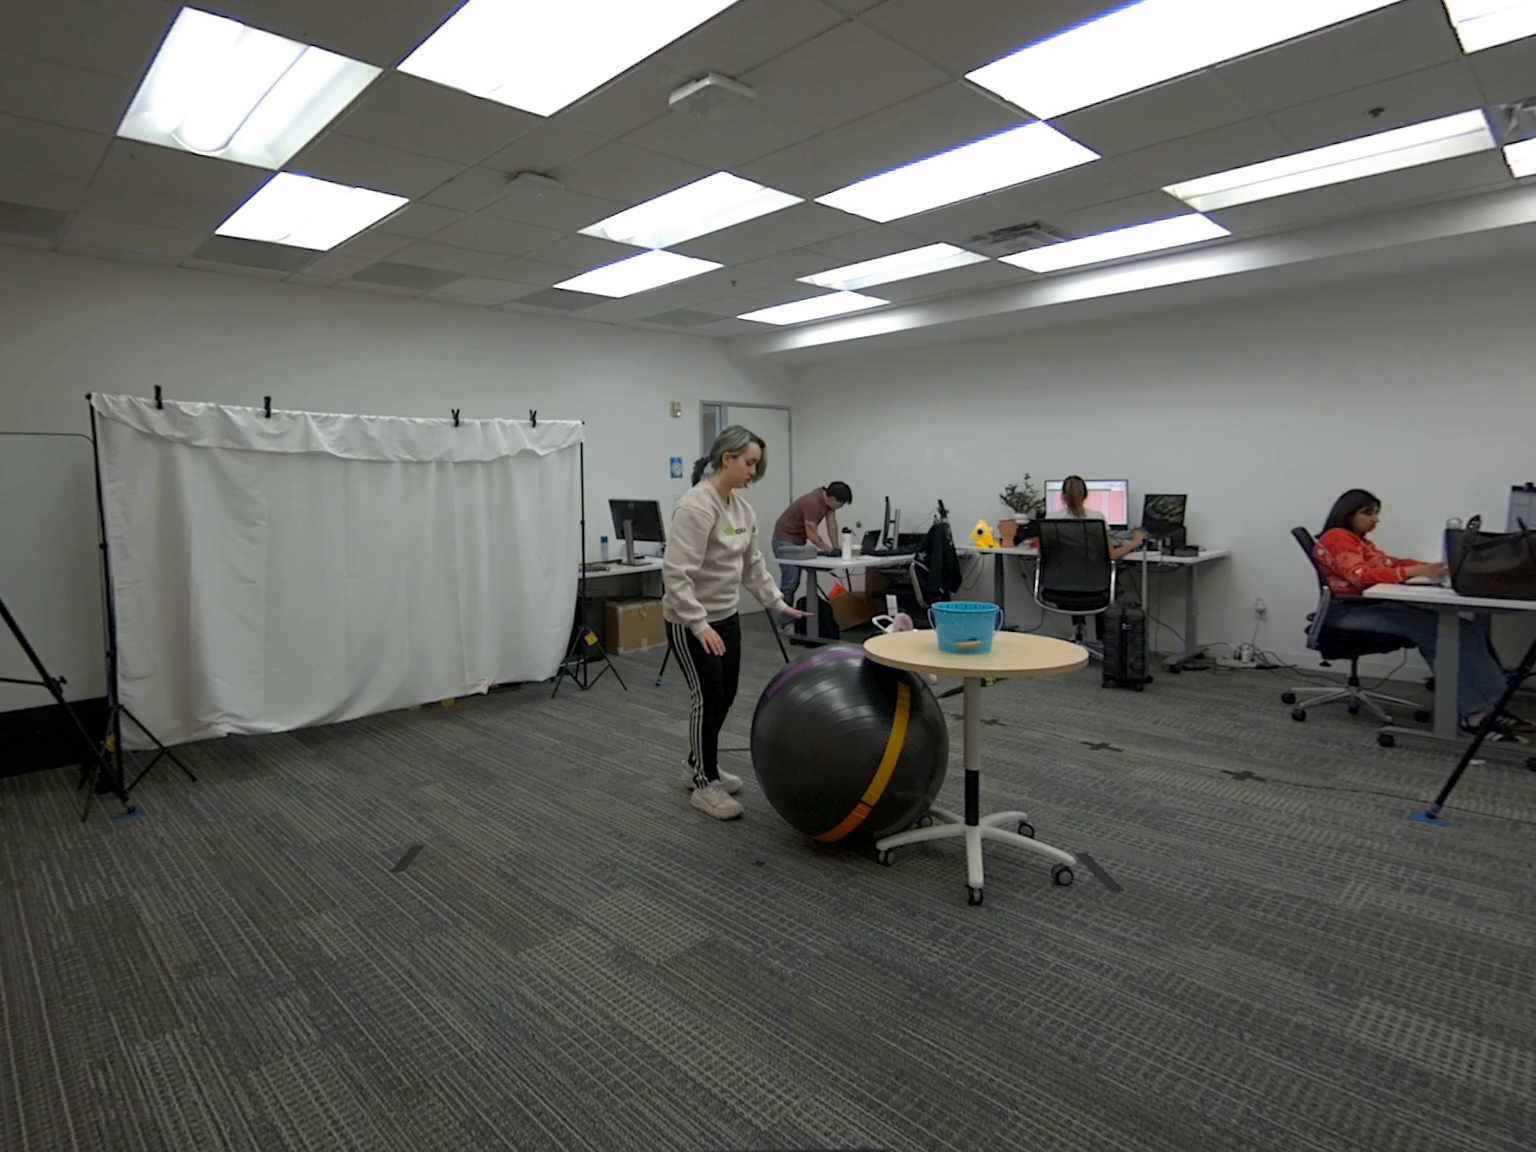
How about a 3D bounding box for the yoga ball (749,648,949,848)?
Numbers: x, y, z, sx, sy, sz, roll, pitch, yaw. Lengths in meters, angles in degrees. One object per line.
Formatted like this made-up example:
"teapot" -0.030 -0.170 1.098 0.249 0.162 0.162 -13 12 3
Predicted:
"yoga ball" 0.307 0.646 3.300 0.757 0.755 0.762 -1 5 -2
